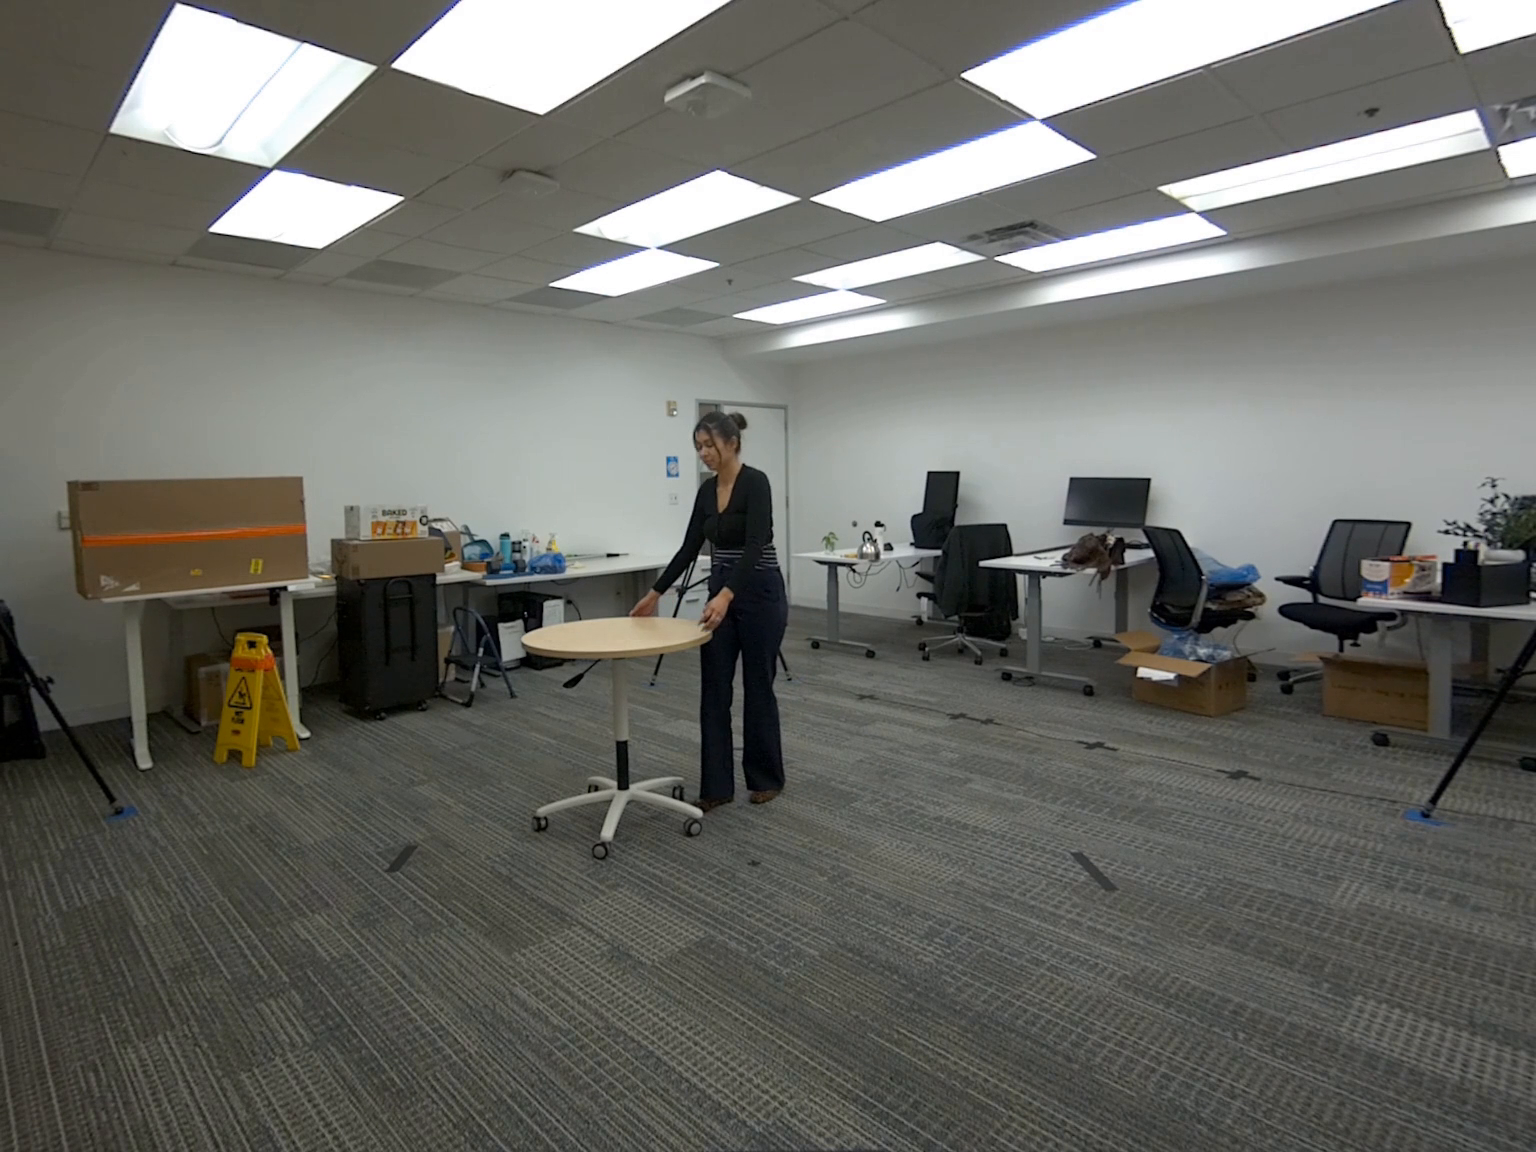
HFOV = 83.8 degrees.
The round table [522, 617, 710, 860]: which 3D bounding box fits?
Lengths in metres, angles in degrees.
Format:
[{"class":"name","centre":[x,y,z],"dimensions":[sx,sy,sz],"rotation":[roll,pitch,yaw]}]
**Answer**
[{"class":"round table","centre":[-0.595,0.622,3.484],"dimensions":[0.763,0.791,0.768],"rotation":[-2,5,-2]}]
